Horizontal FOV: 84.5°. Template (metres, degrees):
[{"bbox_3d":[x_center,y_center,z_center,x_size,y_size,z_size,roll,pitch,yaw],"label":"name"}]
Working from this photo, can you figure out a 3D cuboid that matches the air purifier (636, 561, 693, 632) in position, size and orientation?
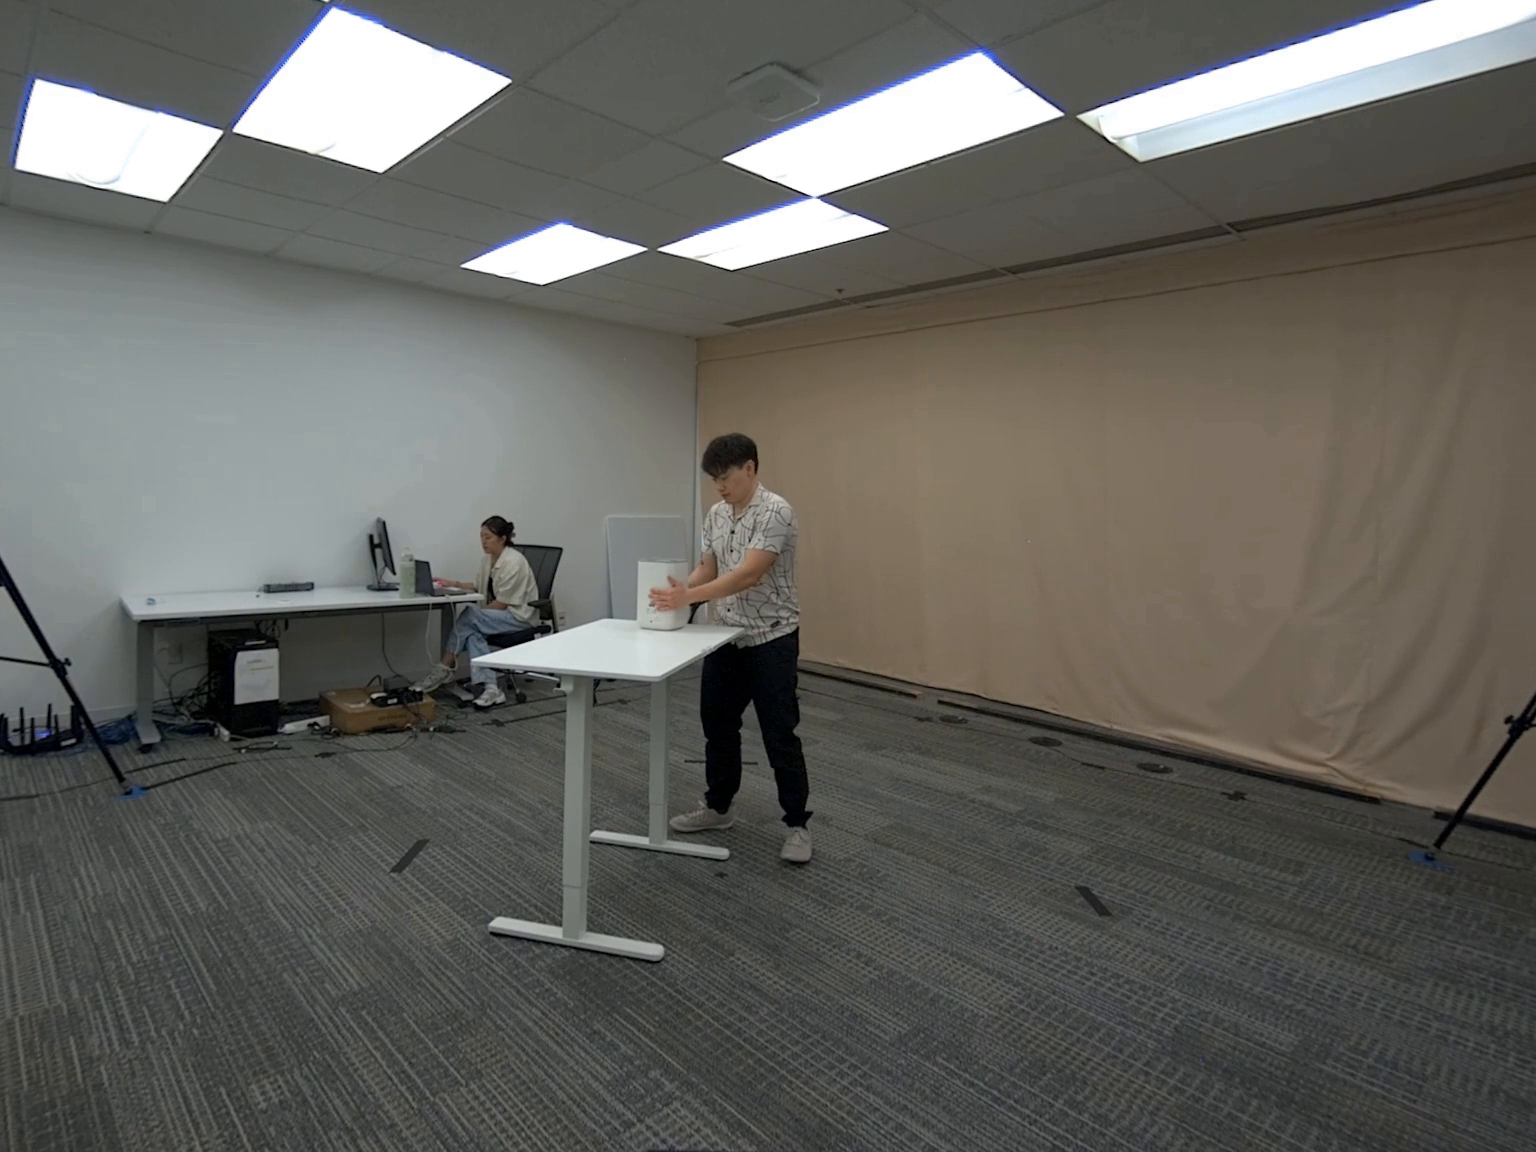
[{"bbox_3d":[-0.418,0.074,3.272,0.174,0.265,0.169,2,2,20],"label":"air purifier"}]
